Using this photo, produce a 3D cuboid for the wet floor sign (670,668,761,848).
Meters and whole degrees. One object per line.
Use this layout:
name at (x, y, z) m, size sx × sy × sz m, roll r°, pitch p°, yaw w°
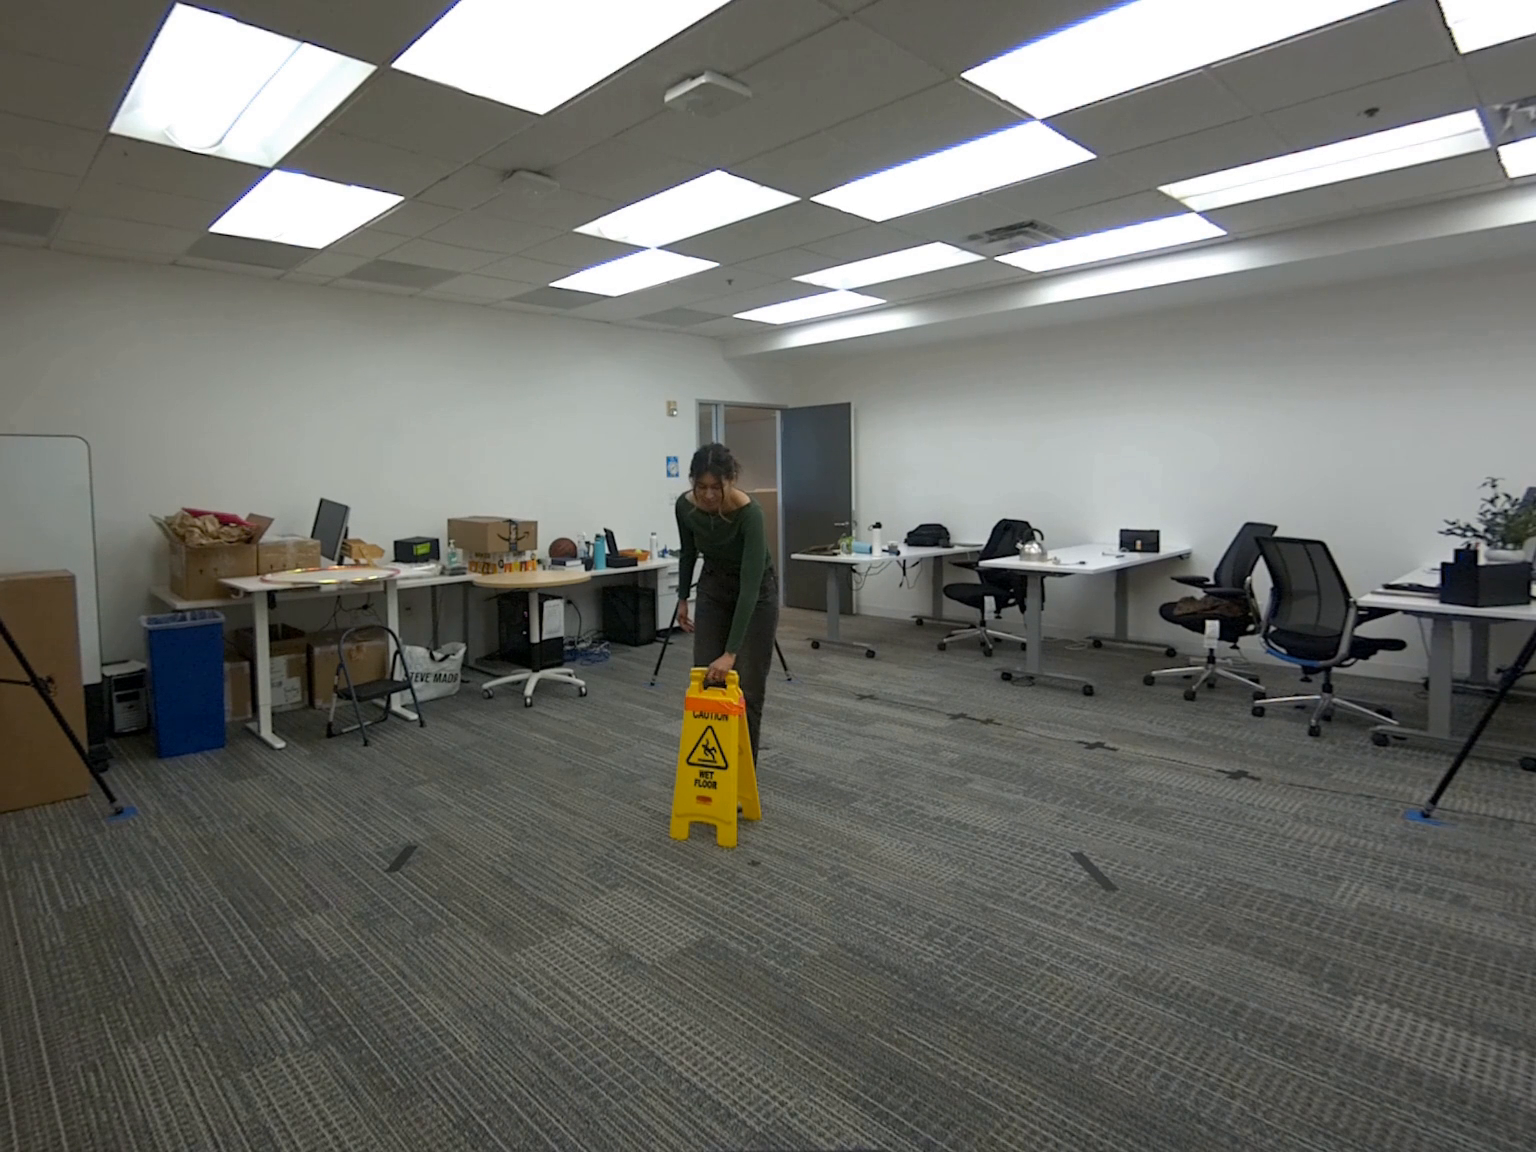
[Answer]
wet floor sign at (-0.216, 0.691, 3.401) m, size 0.288 × 0.644 × 0.285 m, roll 0°, pitch 4°, yaw 21°
